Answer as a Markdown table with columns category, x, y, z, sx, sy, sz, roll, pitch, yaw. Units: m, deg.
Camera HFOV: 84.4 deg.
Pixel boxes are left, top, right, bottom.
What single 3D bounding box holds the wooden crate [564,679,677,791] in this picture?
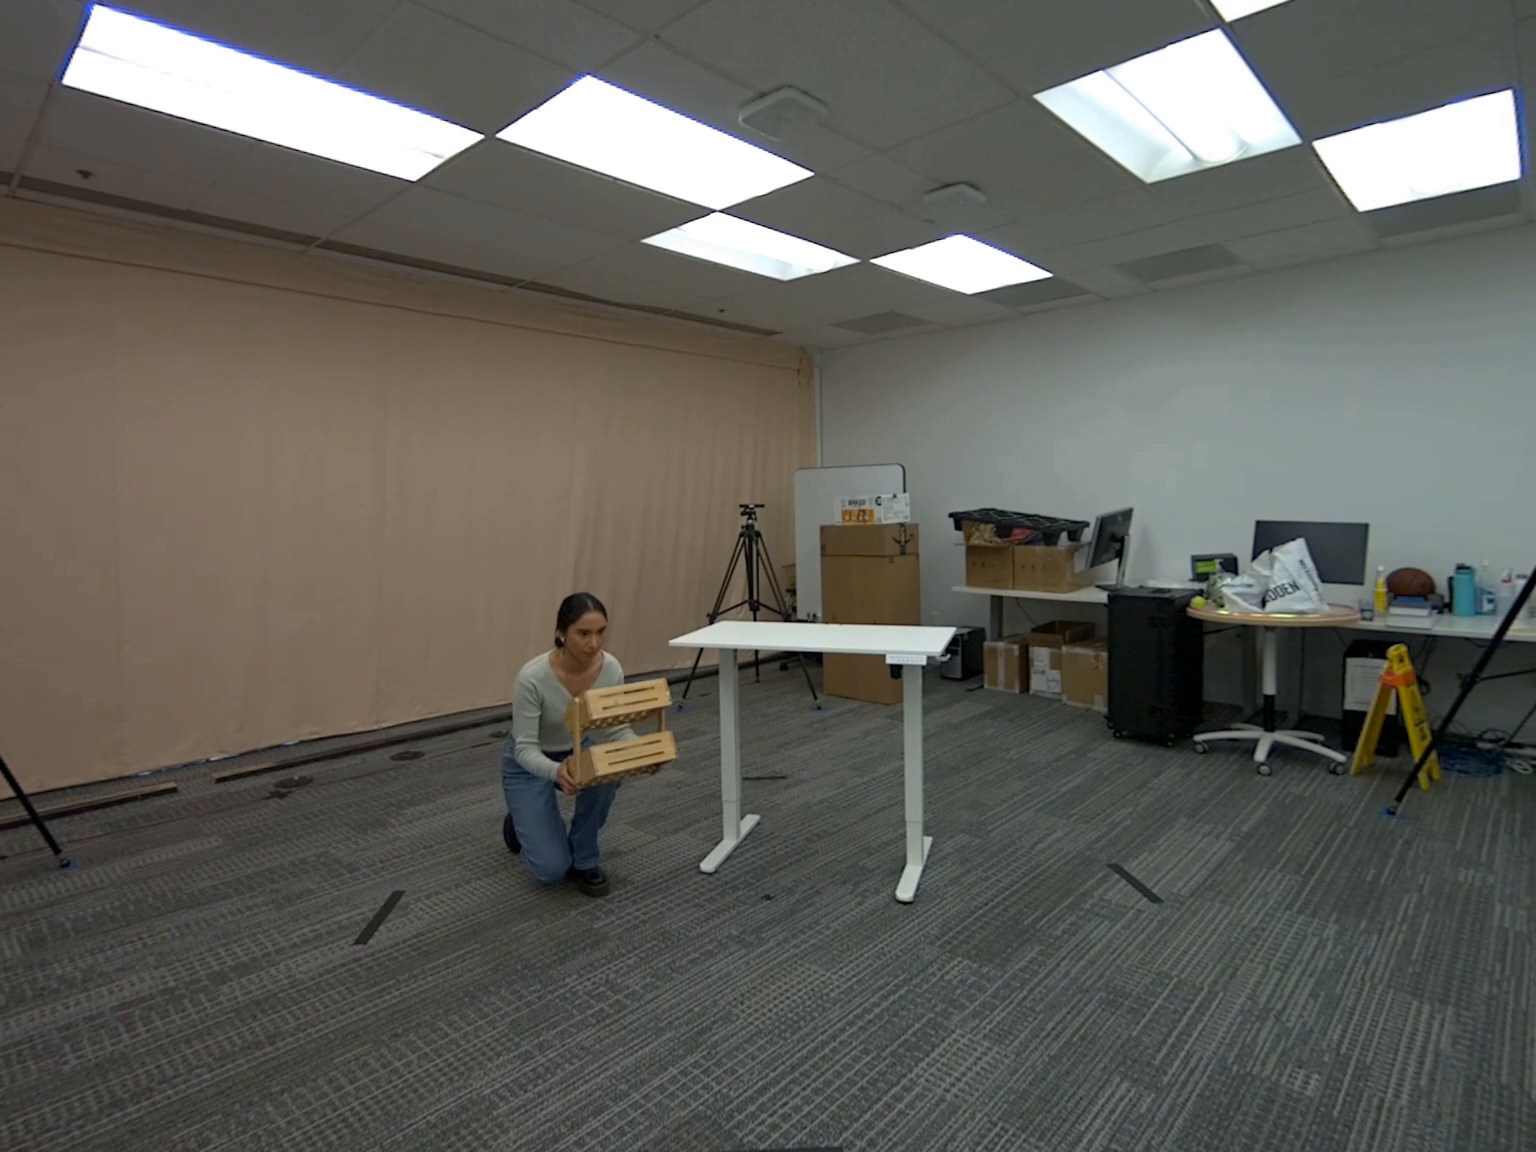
| category | x | y | z | sx | sy | sz | roll | pitch | yaw |
| --- | --- | --- | --- | --- | --- | --- | --- | --- | --- |
| wooden crate | -0.512 | 0.527 | 2.805 | 0.315 | 0.277 | 0.306 | -4 | -20 | -37 |
